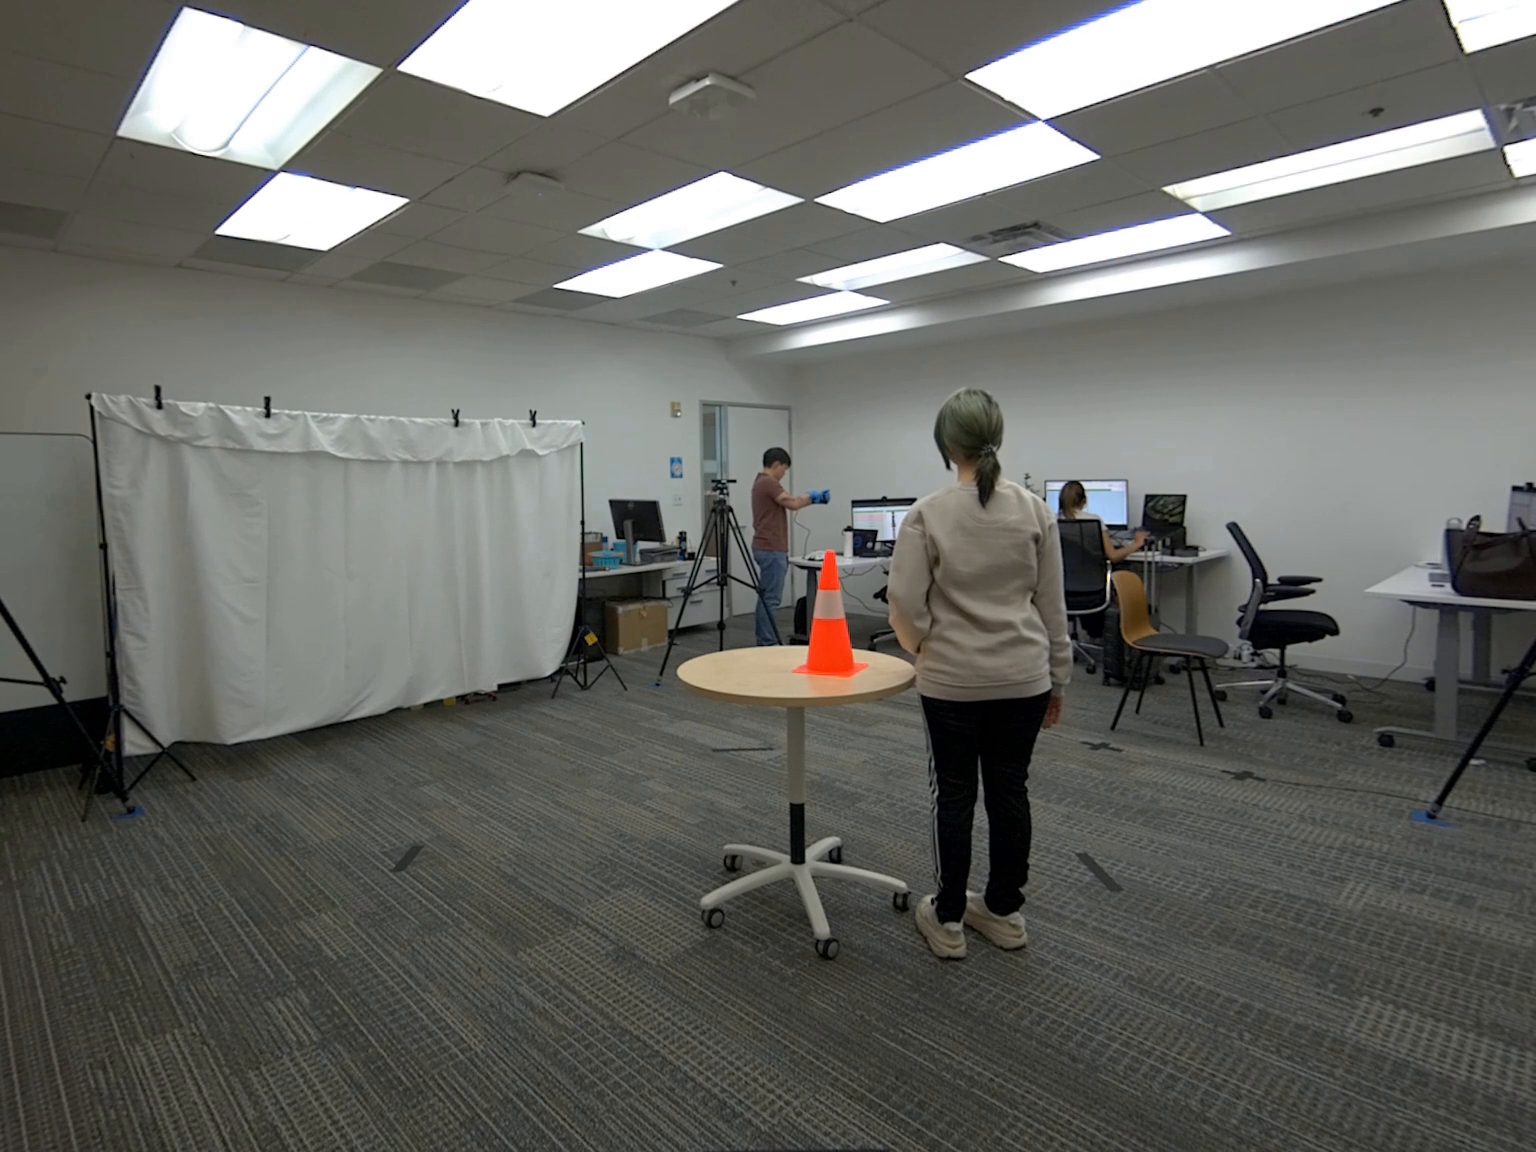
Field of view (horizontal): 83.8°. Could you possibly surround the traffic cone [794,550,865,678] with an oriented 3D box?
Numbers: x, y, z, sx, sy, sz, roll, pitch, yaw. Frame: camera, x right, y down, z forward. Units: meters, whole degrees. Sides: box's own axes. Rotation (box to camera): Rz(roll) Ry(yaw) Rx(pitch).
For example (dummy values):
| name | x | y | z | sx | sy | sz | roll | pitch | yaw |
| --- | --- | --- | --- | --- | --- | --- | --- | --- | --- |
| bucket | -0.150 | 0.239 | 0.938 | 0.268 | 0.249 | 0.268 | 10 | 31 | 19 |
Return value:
| name | x | y | z | sx | sy | sz | roll | pitch | yaw |
| --- | --- | --- | --- | --- | --- | --- | --- | --- | --- |
| traffic cone | 0.205 | 0.111 | 2.743 | 0.200 | 0.382 | 0.209 | -2 | 5 | -32 |
